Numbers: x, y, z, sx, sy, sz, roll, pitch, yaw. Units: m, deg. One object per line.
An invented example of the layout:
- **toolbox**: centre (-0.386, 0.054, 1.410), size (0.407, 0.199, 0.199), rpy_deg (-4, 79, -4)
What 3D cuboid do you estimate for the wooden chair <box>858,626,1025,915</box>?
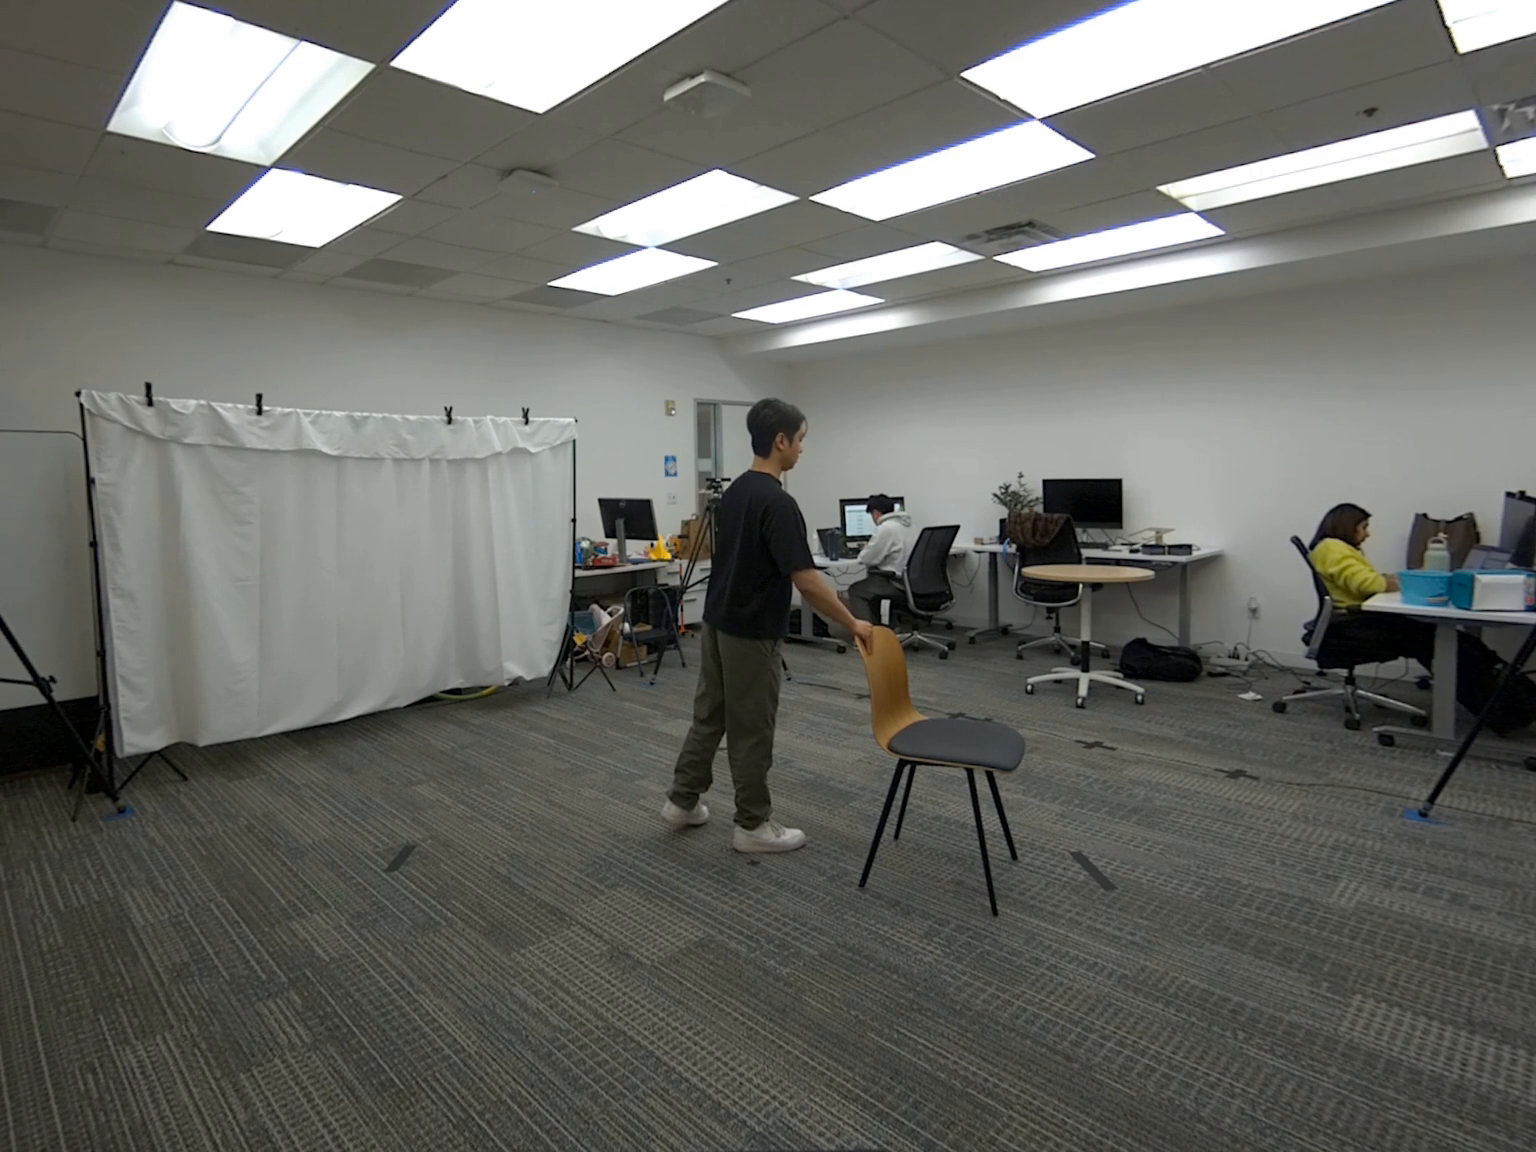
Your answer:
- **wooden chair**: centre (0.606, 0.616, 2.965), size (0.535, 0.876, 0.468), rpy_deg (-4, 2, 26)
